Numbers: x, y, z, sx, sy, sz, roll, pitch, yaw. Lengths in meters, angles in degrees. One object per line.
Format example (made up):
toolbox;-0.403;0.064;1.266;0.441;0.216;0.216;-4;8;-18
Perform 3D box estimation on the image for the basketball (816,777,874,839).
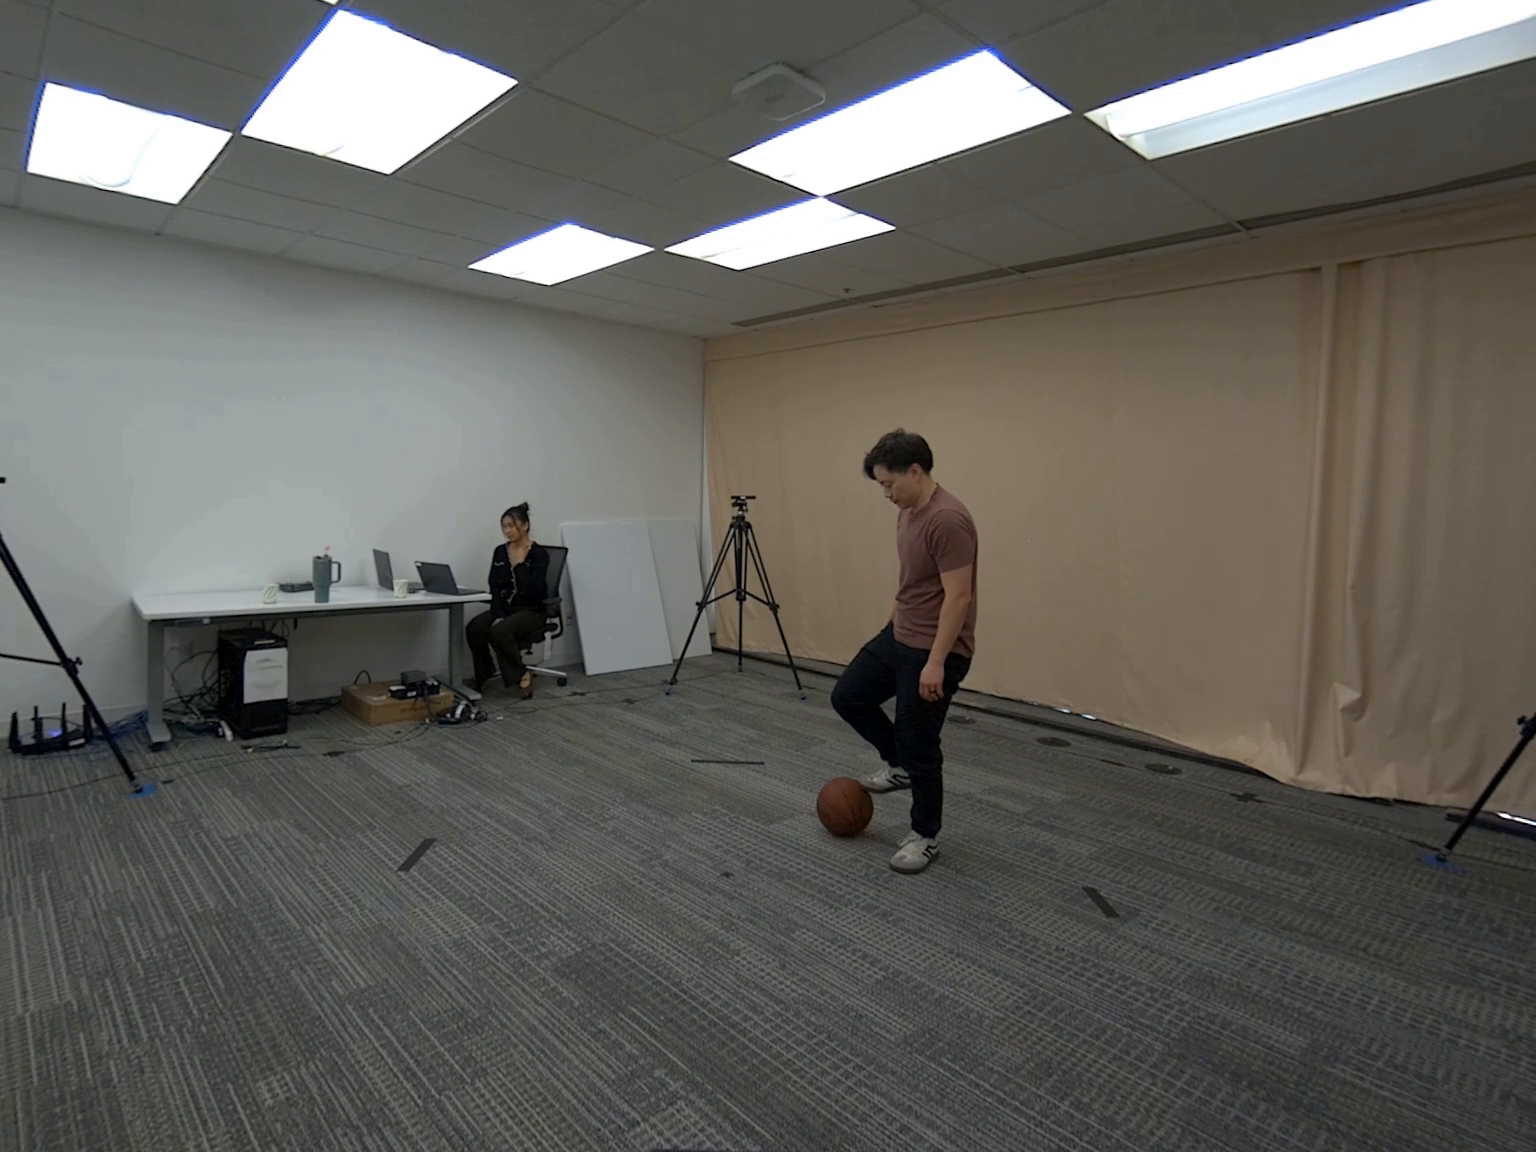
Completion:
basketball;0.305;0.959;3.510;0.236;0.235;0.237;1;4;-1
